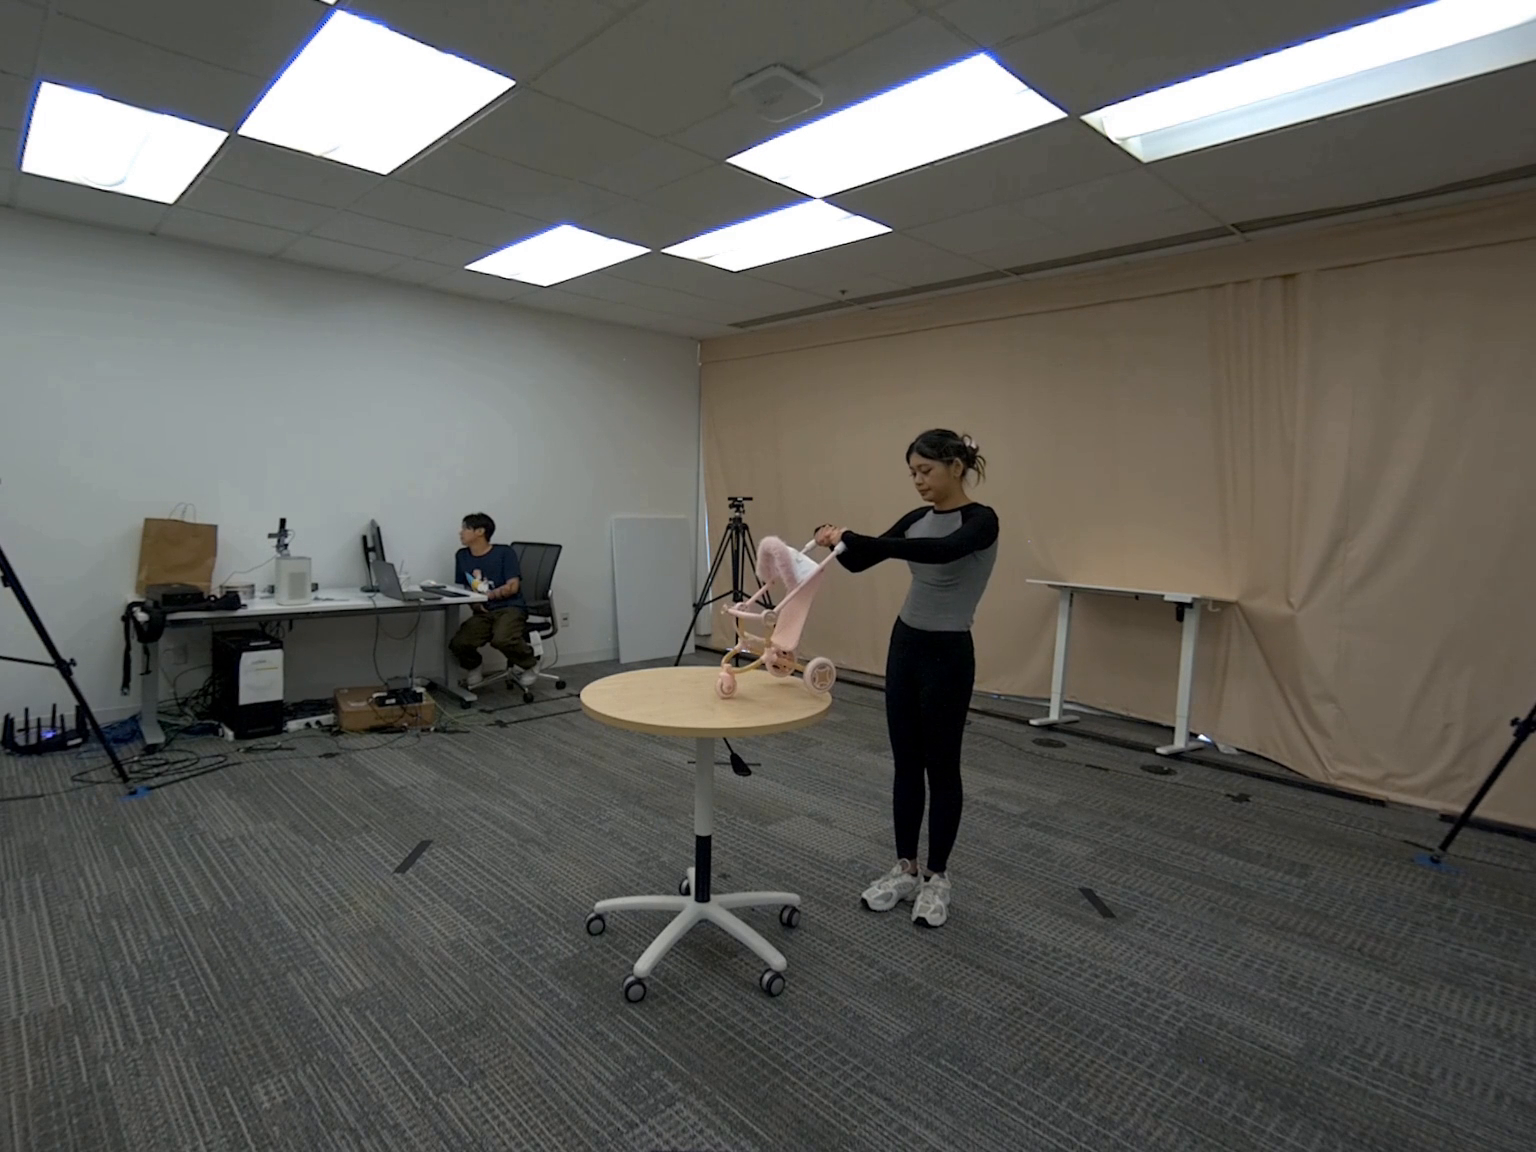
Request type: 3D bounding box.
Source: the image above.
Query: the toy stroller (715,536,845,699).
[{"bbox_3d":[0.021,0.124,2.574,0.335,0.535,0.286,8,1,-21],"label":"toy stroller"}]
